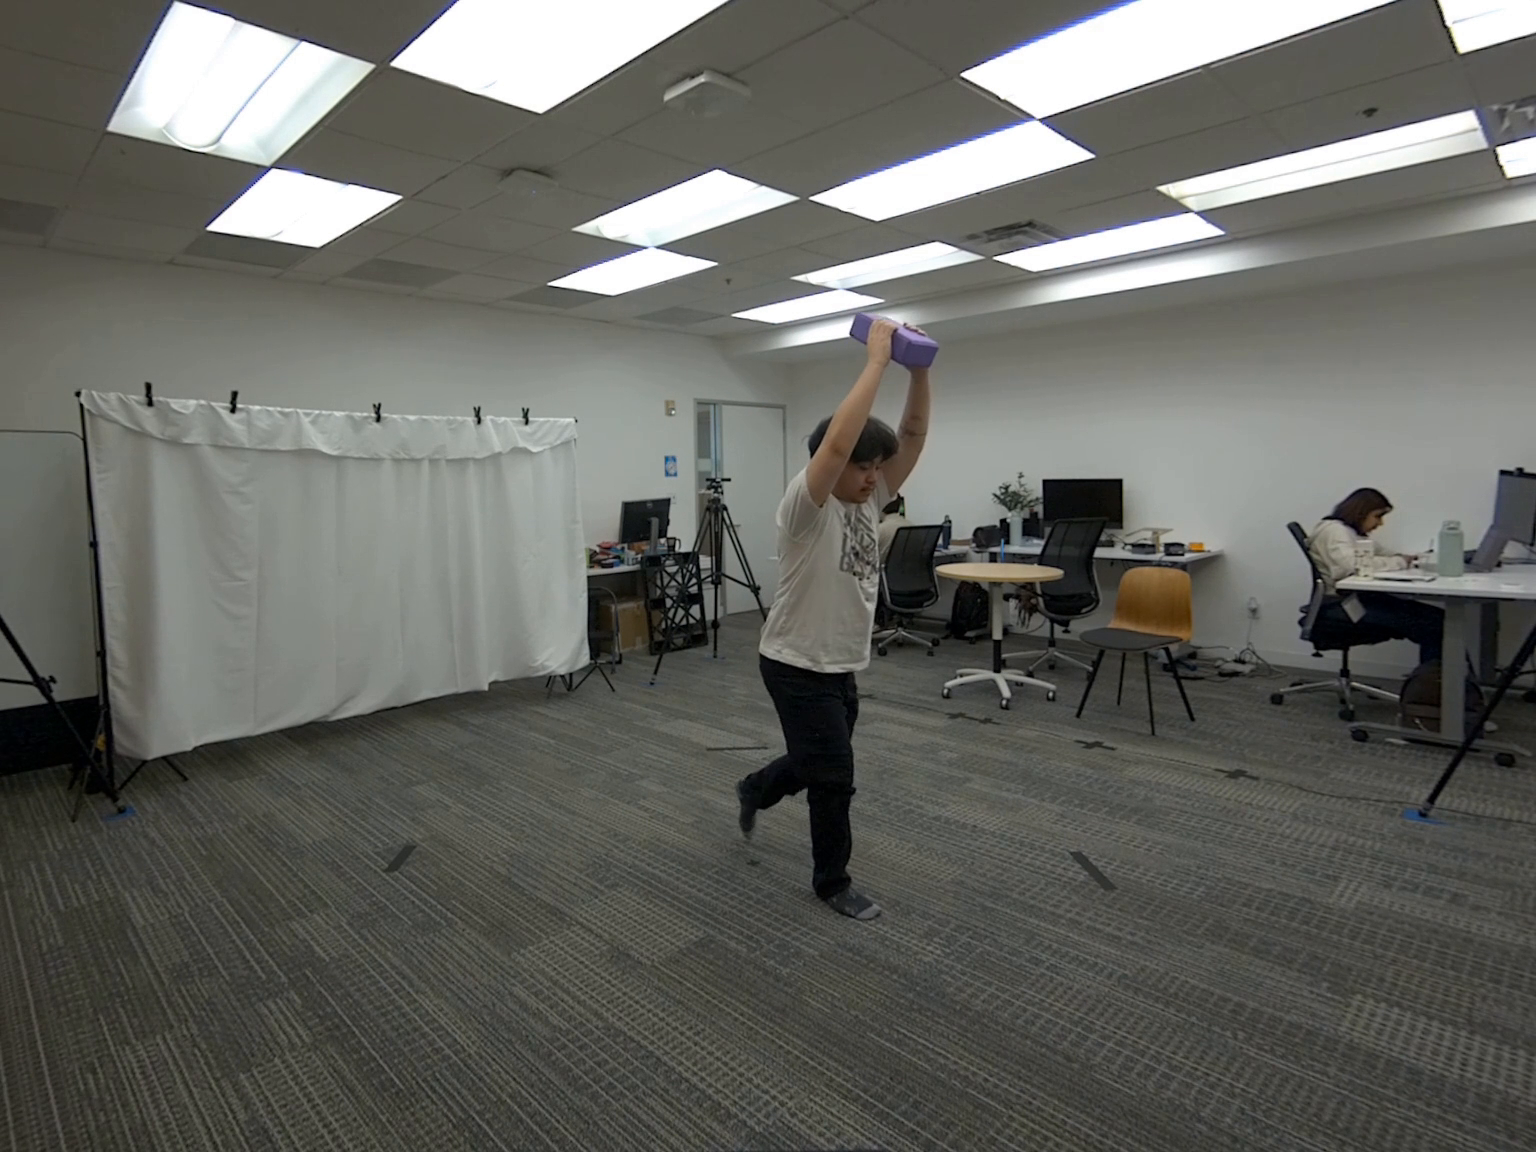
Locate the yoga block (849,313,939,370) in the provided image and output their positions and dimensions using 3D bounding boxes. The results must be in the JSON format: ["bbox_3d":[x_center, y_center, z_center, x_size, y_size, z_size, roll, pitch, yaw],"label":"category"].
[{"bbox_3d":[0.367,-0.692,2.527,0.145,0.075,0.238,-6,36,-44],"label":"yoga block"}]
